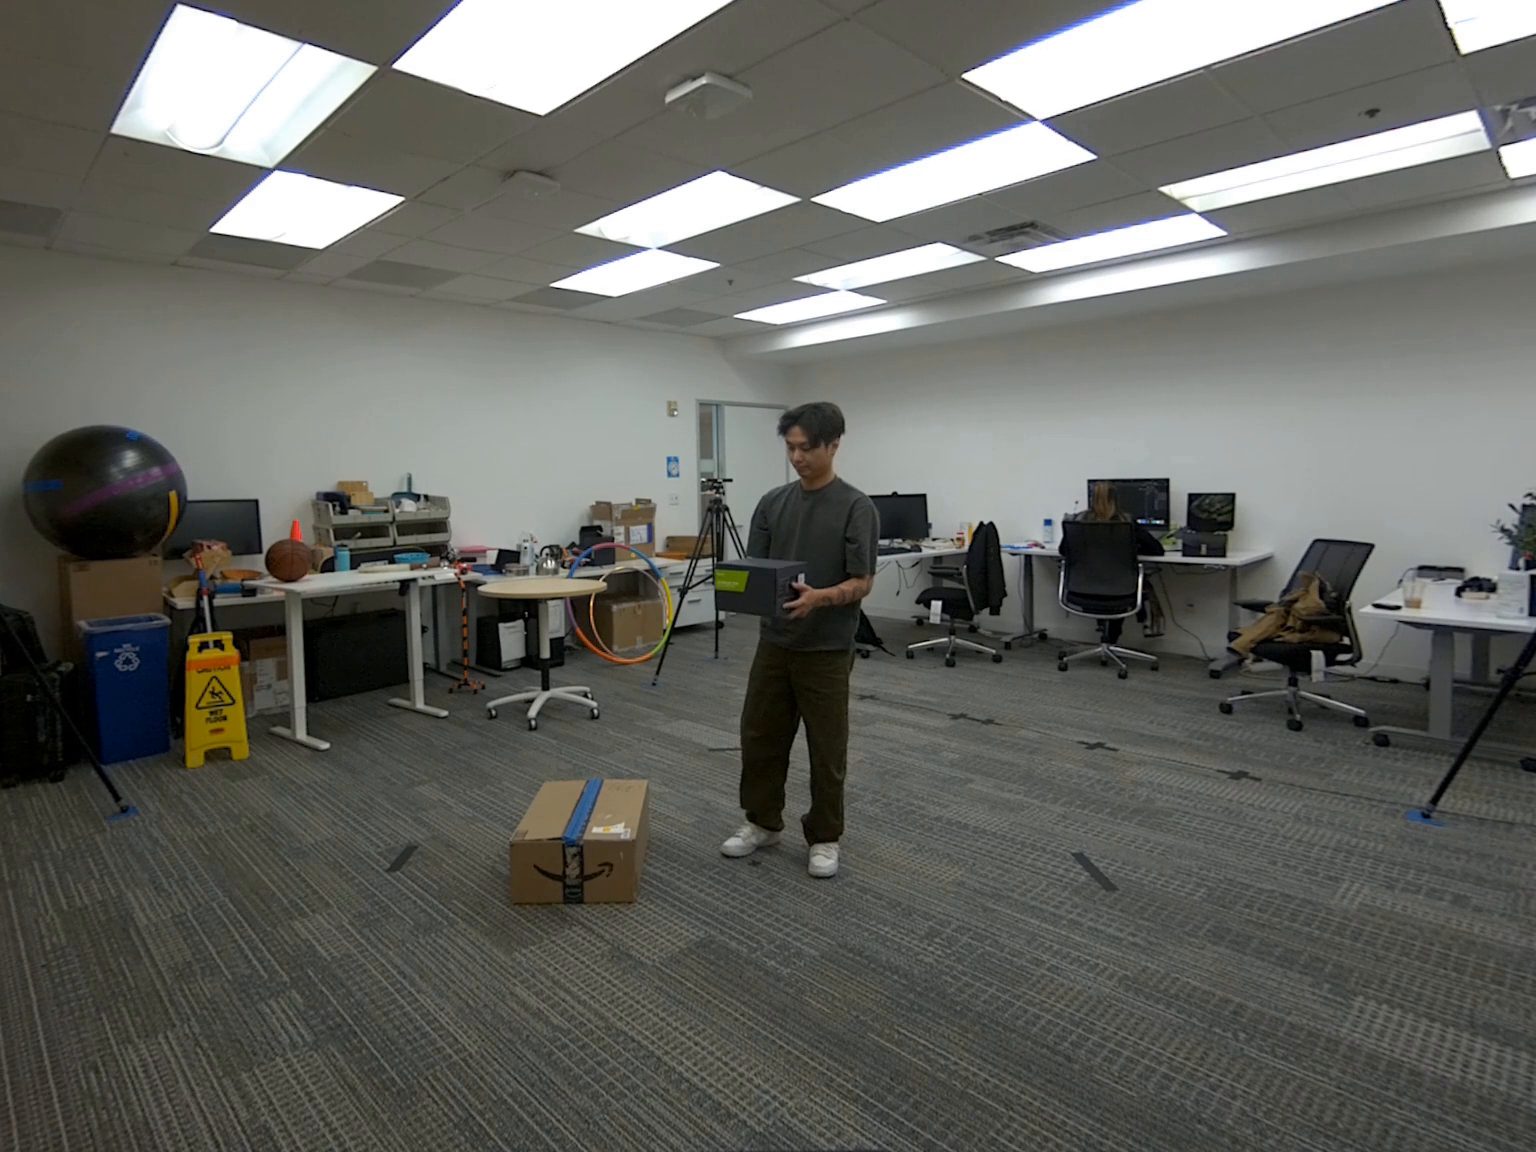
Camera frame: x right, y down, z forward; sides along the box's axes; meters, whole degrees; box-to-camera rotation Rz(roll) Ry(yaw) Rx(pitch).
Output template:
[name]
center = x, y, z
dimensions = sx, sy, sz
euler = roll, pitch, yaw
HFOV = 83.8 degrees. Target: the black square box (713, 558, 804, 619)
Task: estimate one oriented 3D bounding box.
[black square box]
center = -0.026, 0.033, 2.790
dimensions = 0.234, 0.155, 0.212
euler = 5, 7, 31
